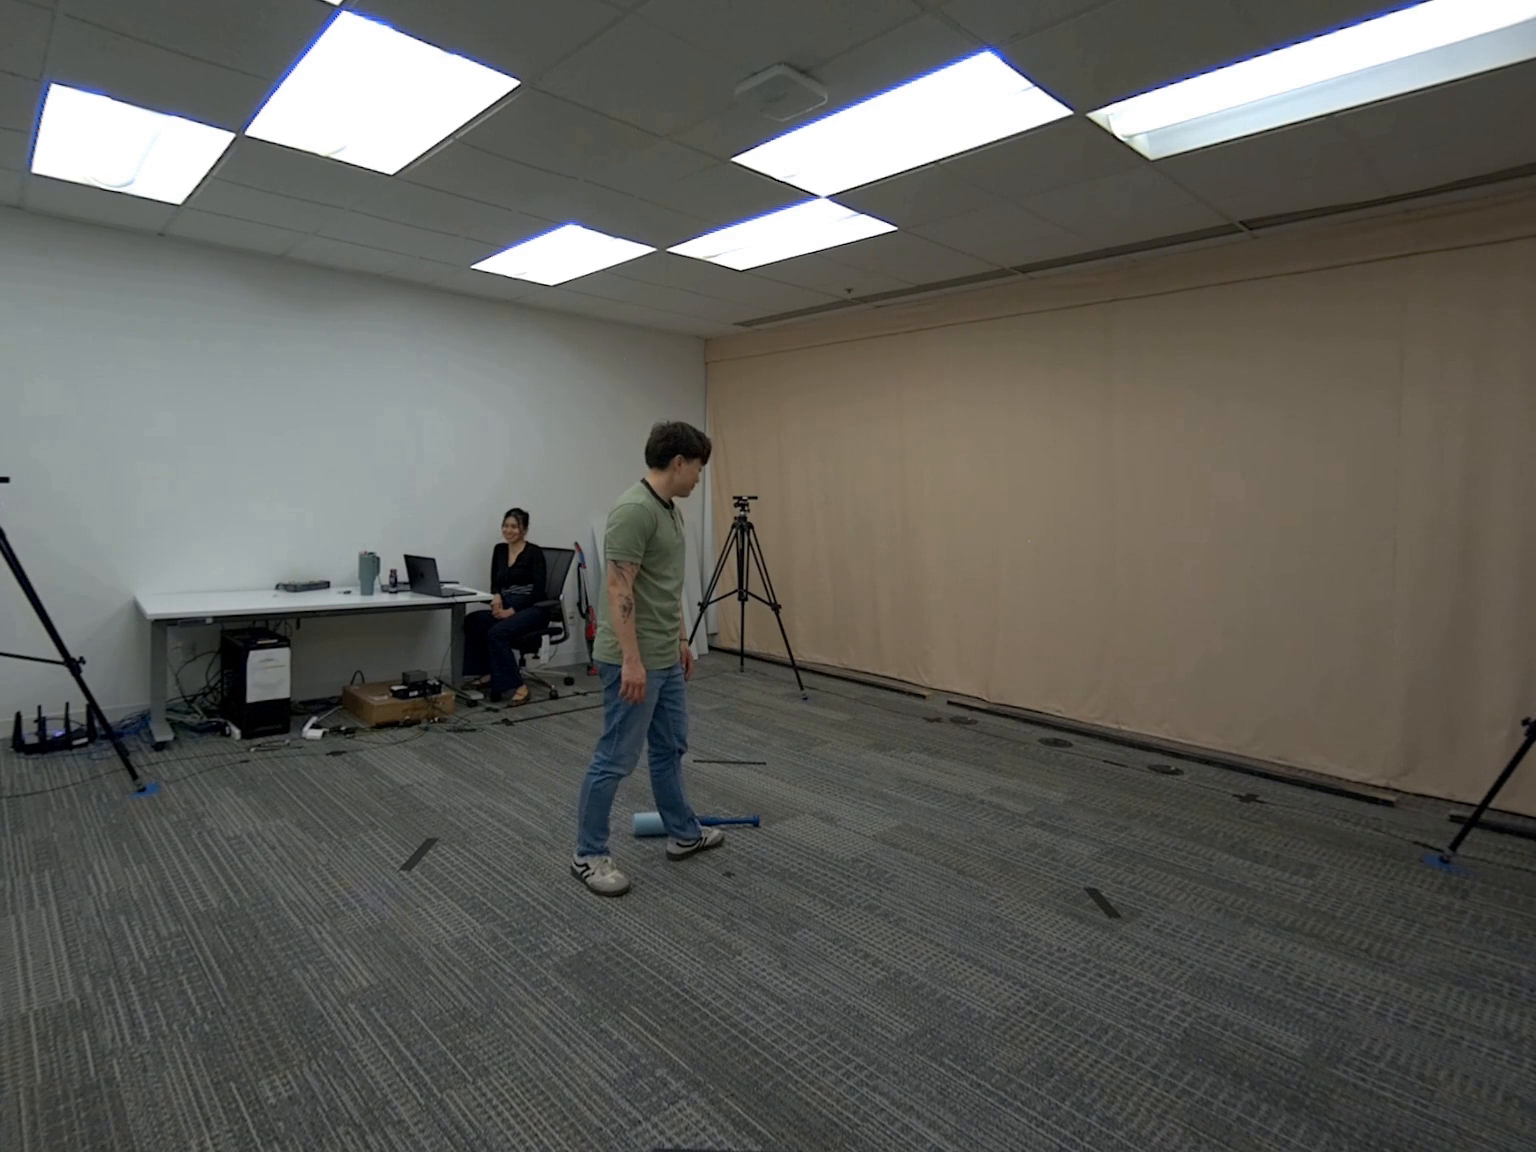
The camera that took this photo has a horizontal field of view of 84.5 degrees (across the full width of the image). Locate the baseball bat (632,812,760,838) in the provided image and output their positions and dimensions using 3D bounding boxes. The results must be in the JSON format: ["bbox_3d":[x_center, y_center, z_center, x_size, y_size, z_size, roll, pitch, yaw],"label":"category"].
[{"bbox_3d":[-0.304,1.027,3.503,0.536,0.089,0.090,3,4,-15],"label":"baseball bat"}]
